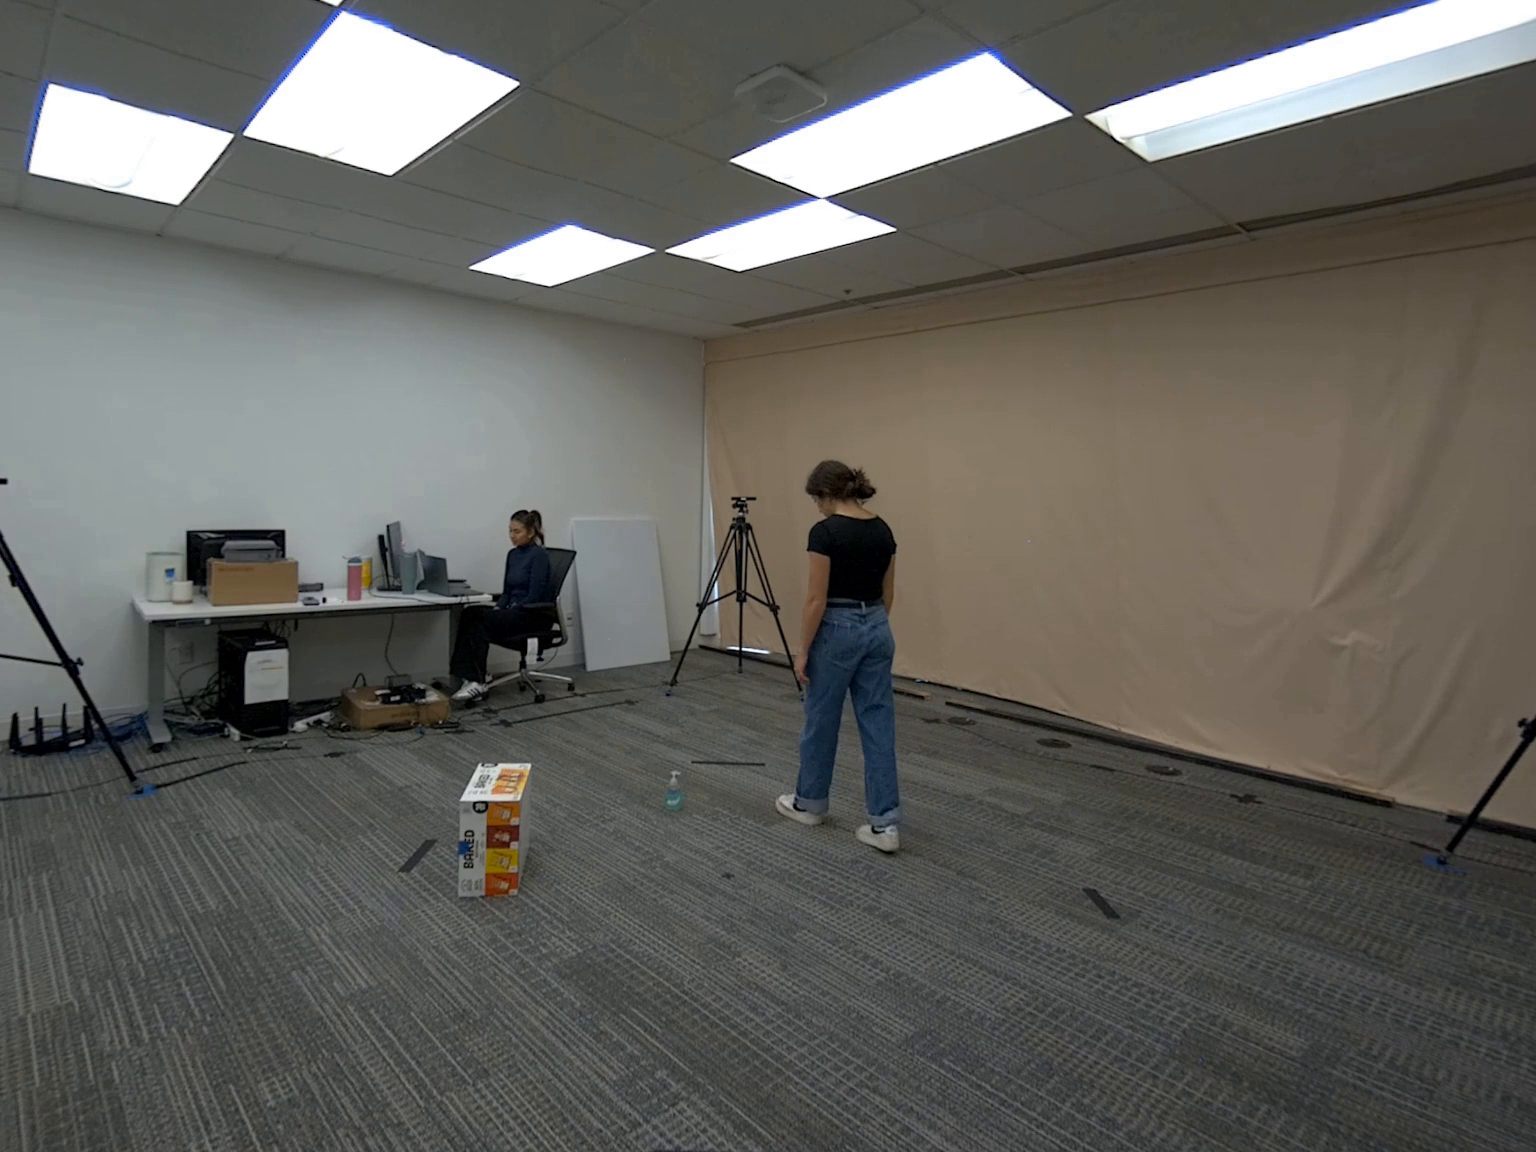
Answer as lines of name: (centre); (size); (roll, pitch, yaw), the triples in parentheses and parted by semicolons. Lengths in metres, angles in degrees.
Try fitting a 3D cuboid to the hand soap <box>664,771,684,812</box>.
hand soap: (-0.427, 0.956, 3.762); (0.085, 0.167, 0.043); (0, 4, 3)
